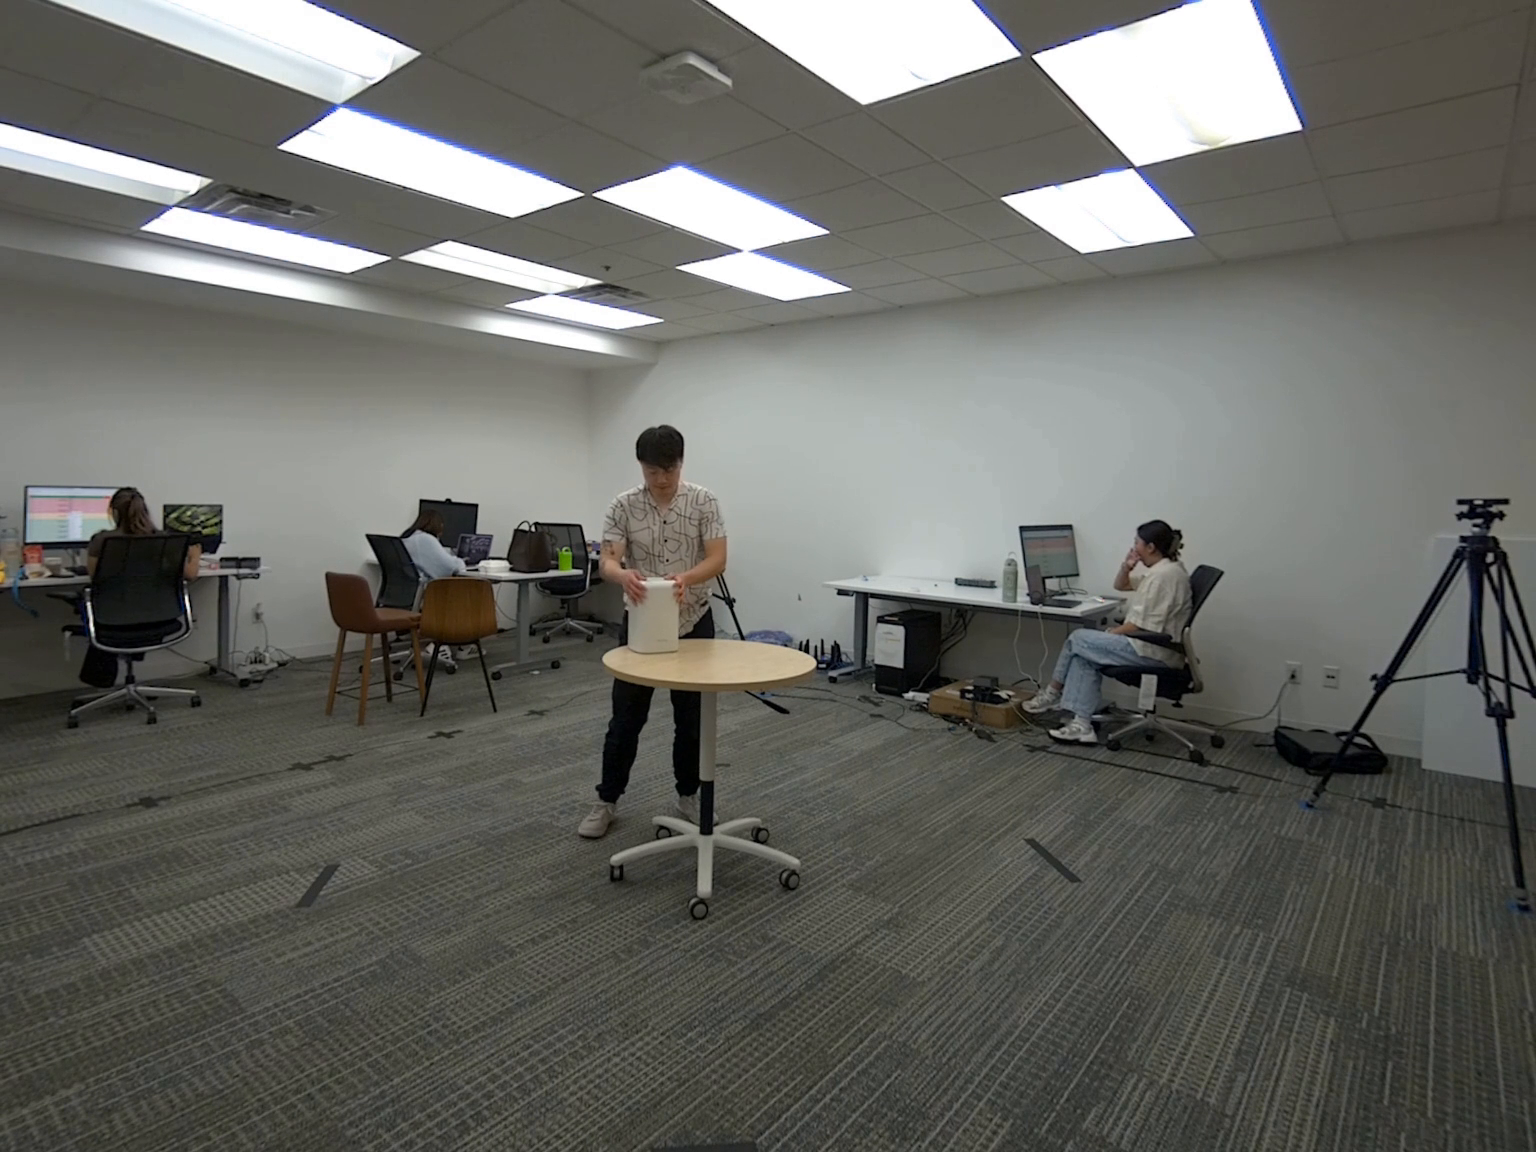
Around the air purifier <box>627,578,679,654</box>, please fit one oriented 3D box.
[{"bbox_3d":[-0.443,0.143,3.200,0.167,0.264,0.176,-3,6,-23],"label":"air purifier"}]
